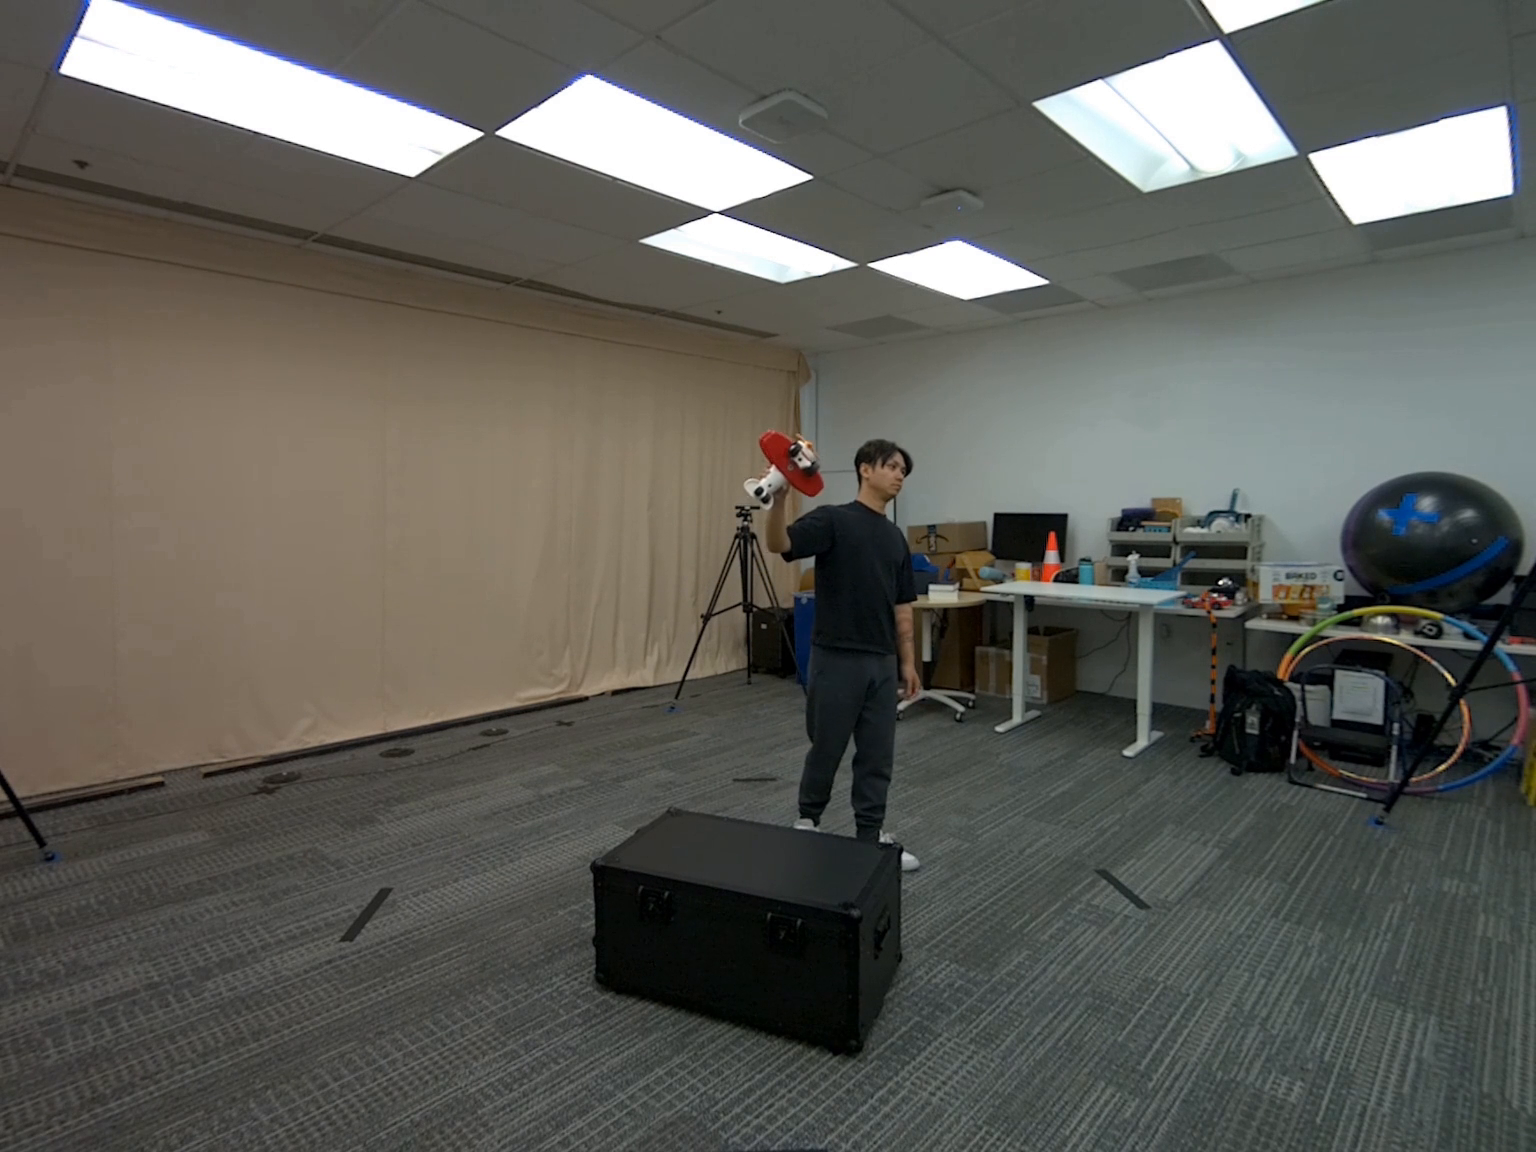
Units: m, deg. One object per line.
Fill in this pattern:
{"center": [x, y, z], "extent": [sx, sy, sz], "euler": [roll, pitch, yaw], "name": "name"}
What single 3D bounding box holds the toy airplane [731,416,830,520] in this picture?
{"center": [0.043, -0.356, 2.777], "extent": [0.262, 0.247, 0.157], "euler": [-13, 17, 10], "name": "toy airplane"}
